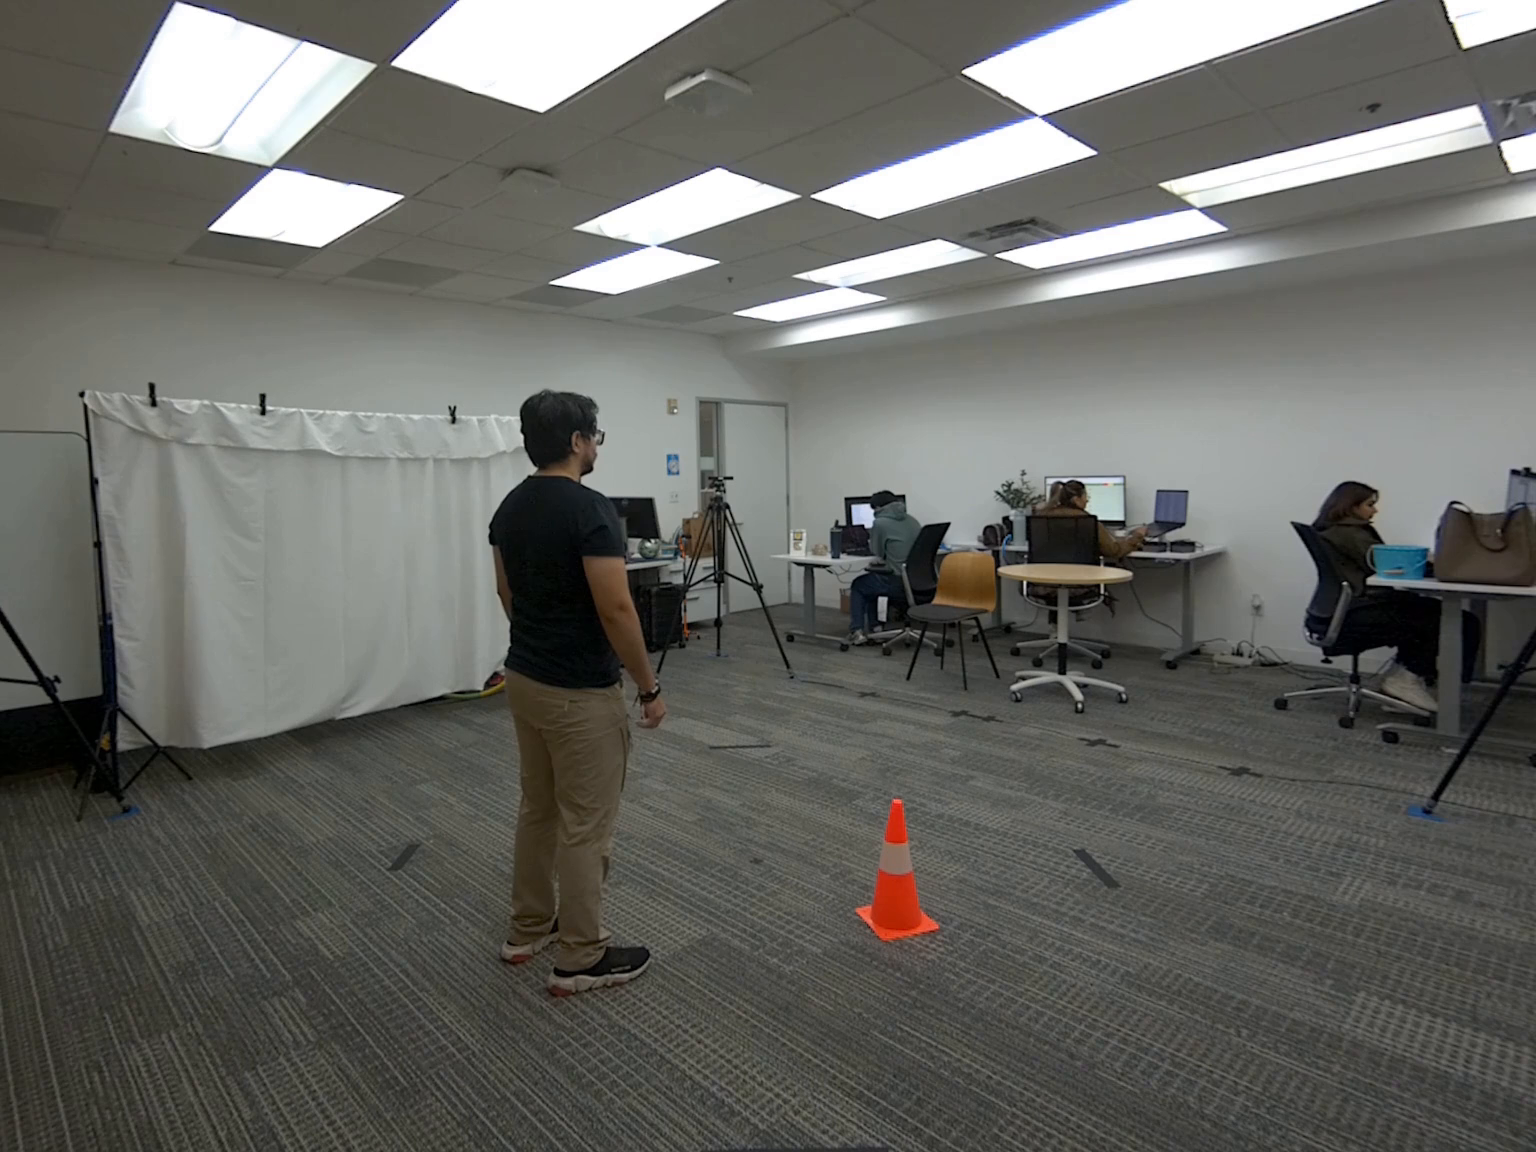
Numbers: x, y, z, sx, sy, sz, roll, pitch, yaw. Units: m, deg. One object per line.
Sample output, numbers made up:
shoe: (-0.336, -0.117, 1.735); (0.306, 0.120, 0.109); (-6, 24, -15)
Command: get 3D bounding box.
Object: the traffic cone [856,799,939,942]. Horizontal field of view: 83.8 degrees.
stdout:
traffic cone: (0.406, 0.892, 2.677); (0.200, 0.383, 0.208); (-1, 2, -16)
